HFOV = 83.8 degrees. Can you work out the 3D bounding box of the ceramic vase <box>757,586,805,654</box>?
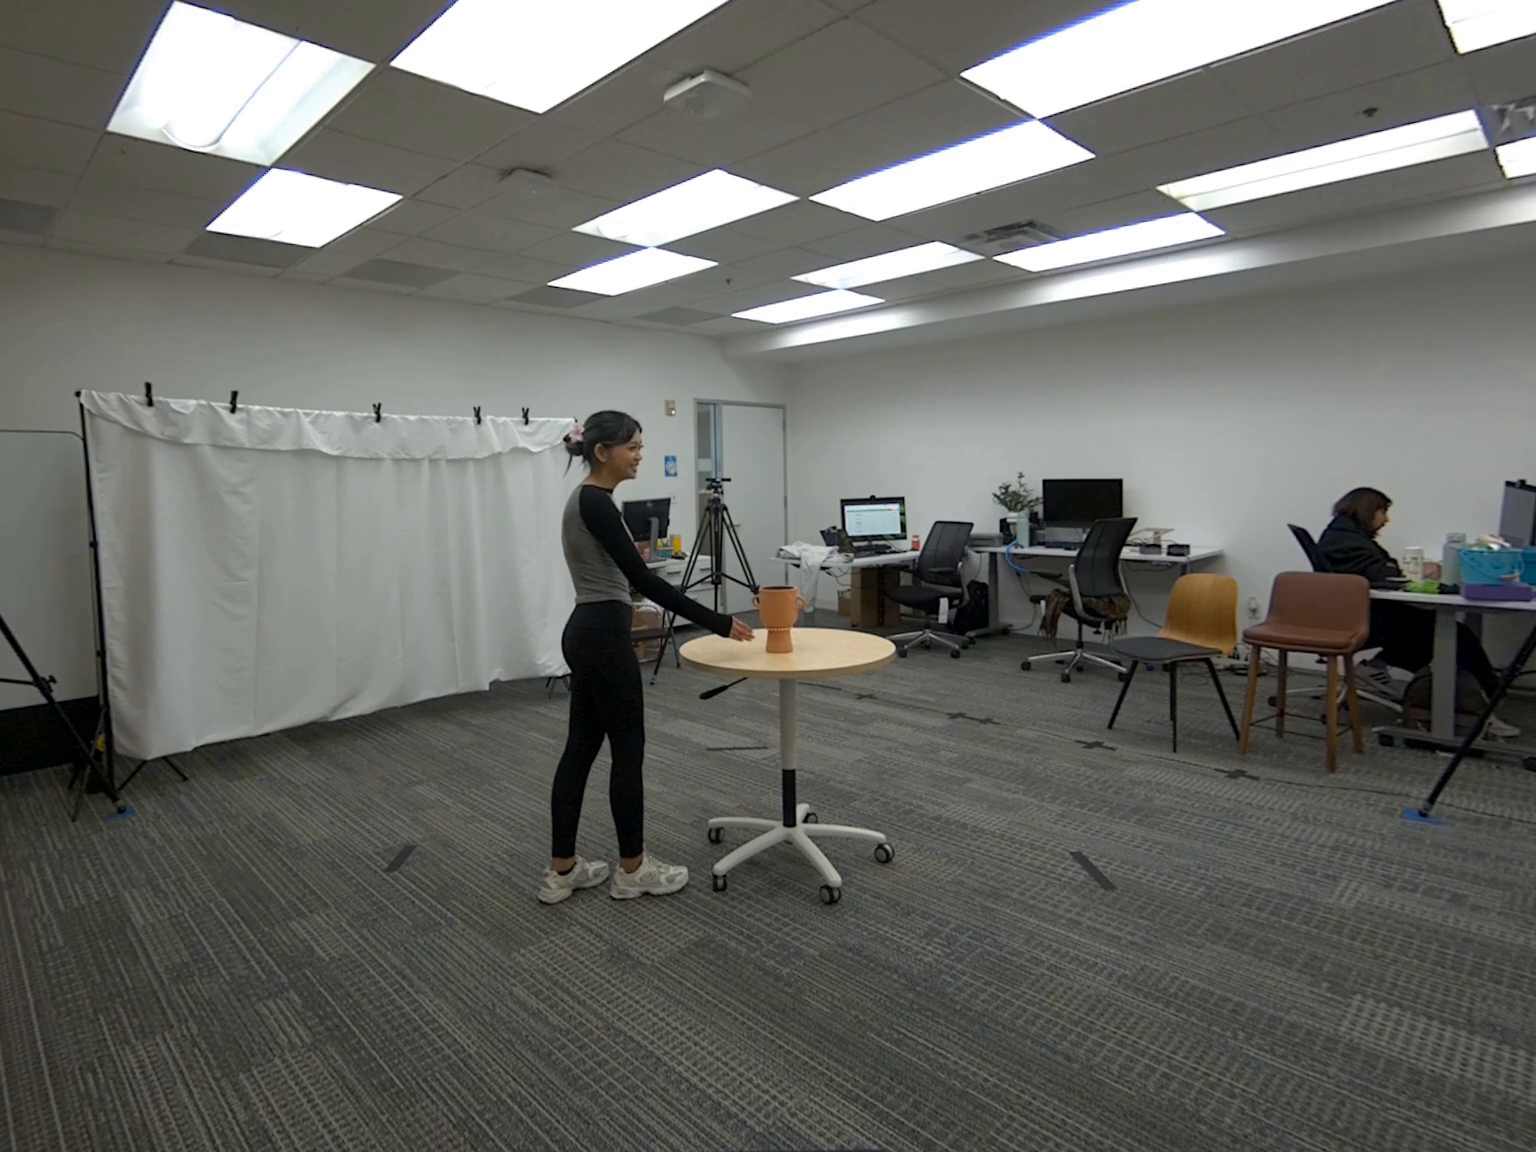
[{"bbox_3d":[0.035,0.152,2.976,0.131,0.219,0.163,-4,6,-31],"label":"ceramic vase"}]
